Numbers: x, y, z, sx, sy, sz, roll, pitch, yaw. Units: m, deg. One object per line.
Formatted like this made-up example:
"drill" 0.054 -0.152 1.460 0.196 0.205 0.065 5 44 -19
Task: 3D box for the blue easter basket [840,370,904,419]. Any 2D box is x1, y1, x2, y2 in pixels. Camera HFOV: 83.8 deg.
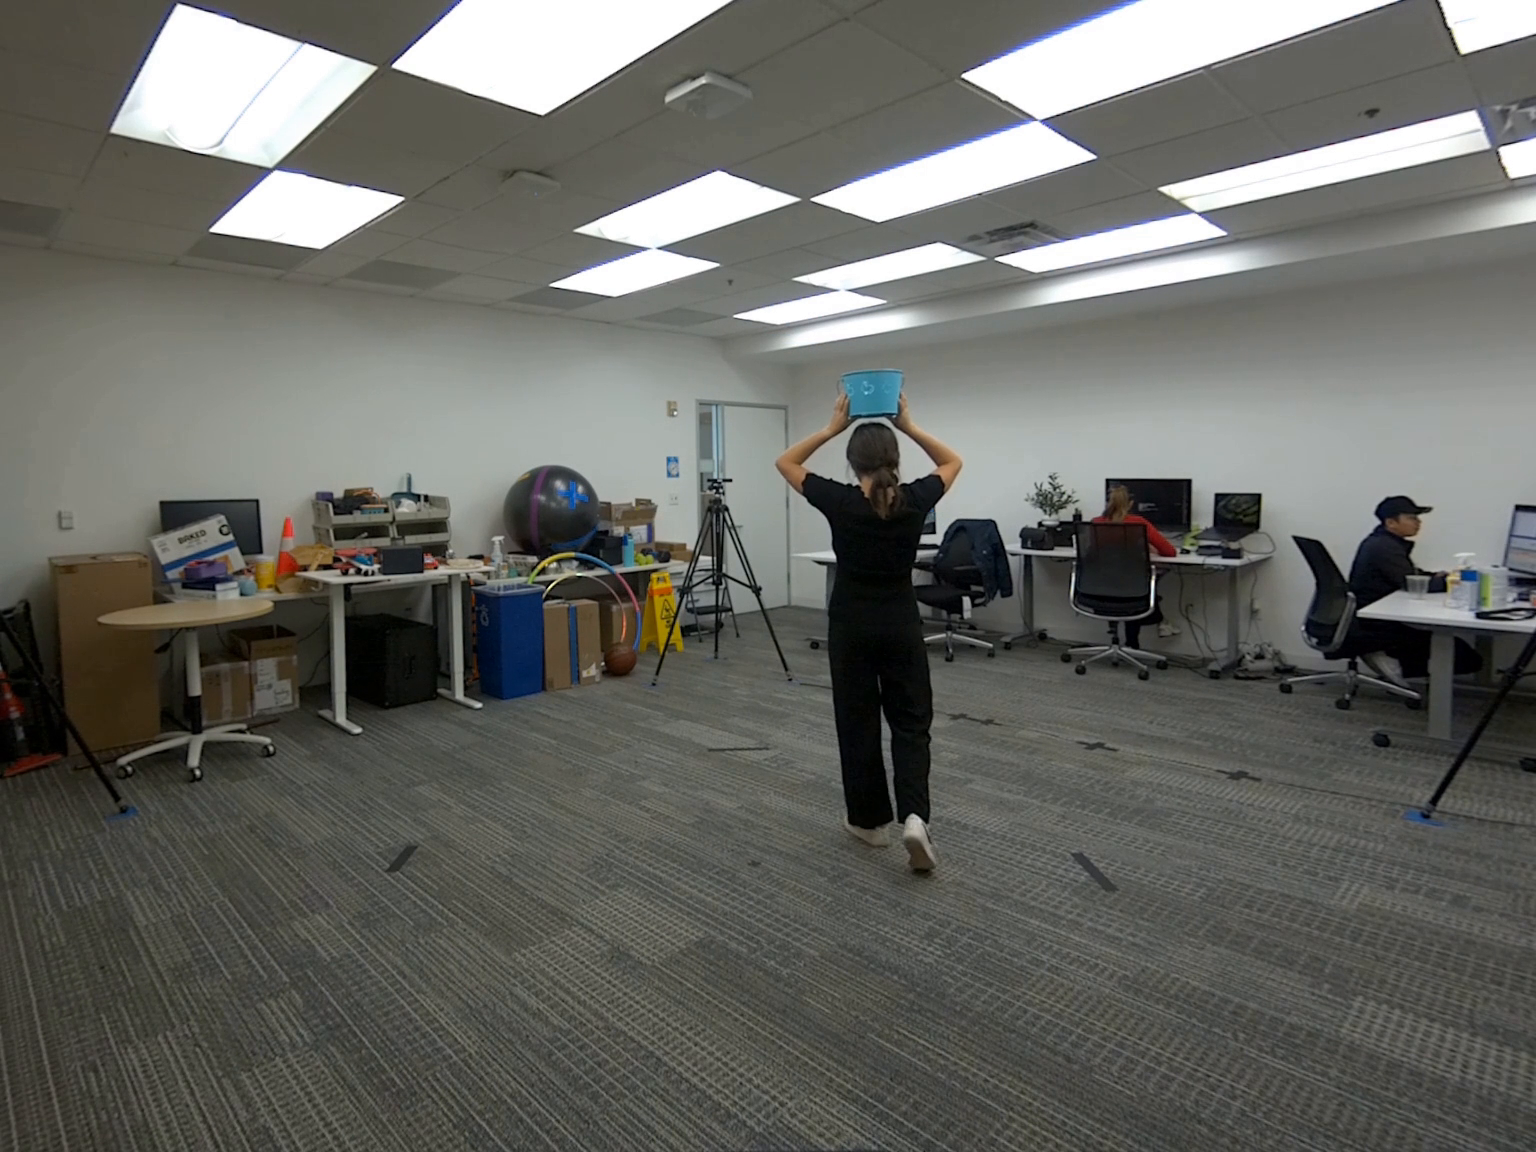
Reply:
"blue easter basket" 0.402 -0.673 3.170 0.243 0.155 0.245 -1 5 -2
